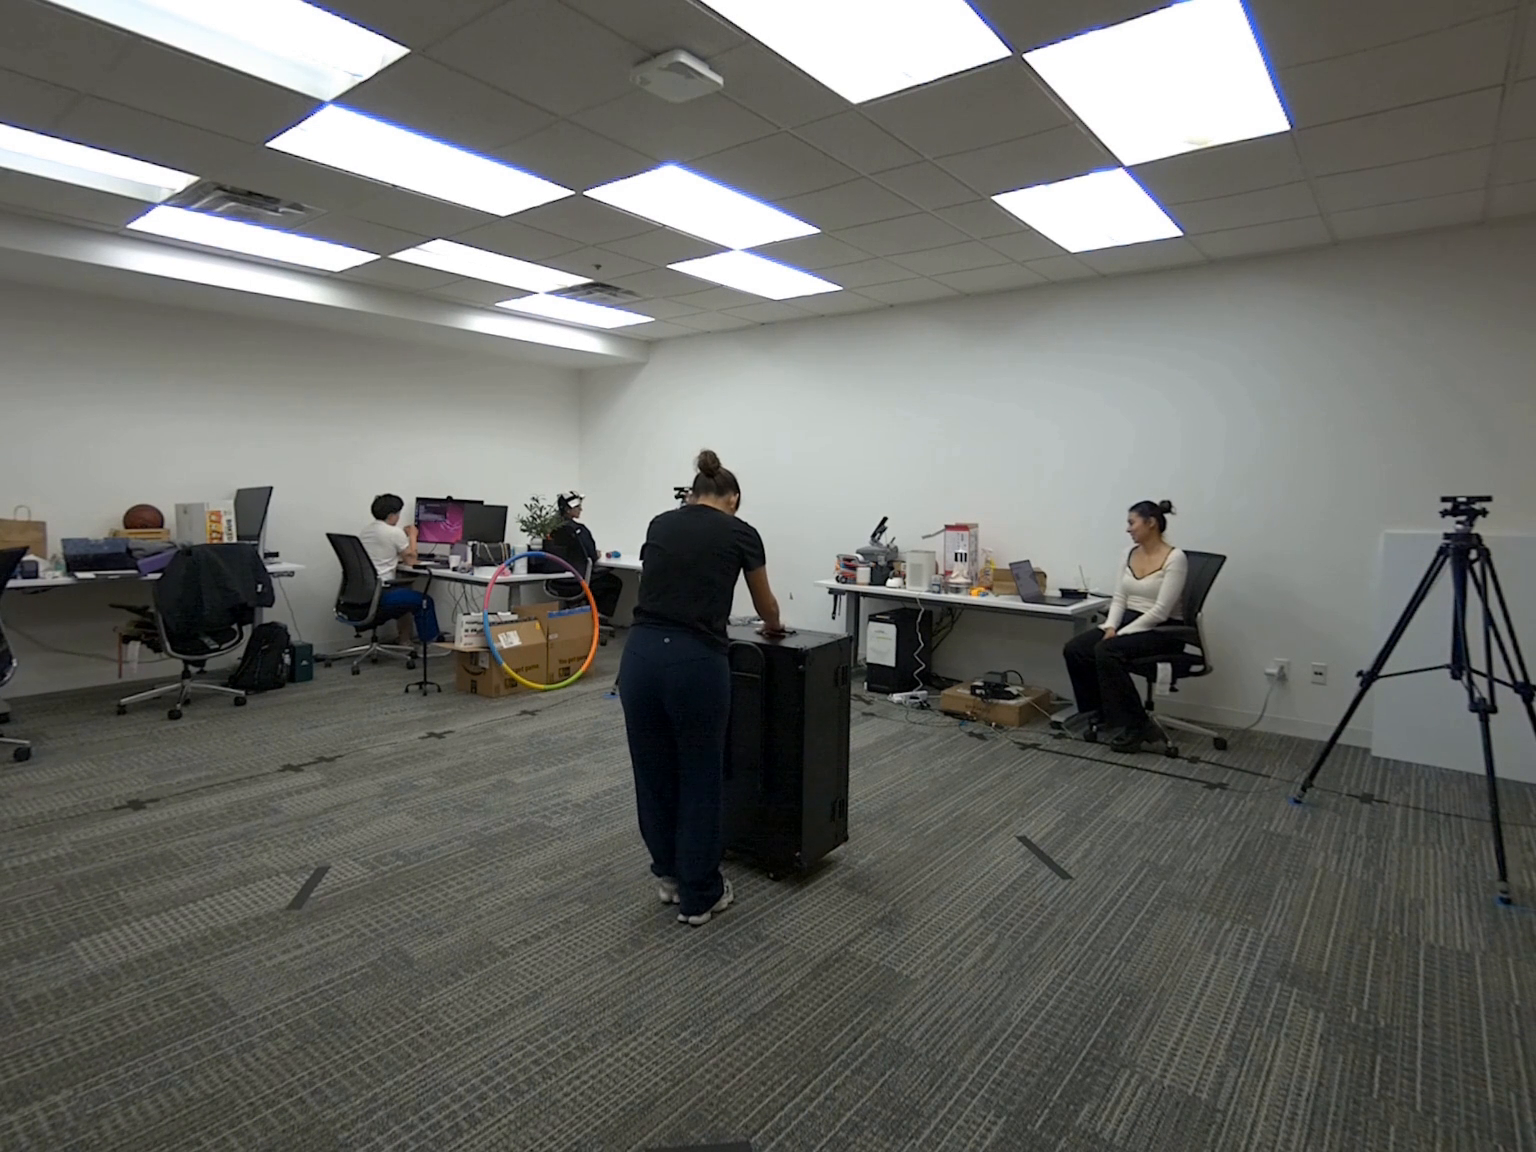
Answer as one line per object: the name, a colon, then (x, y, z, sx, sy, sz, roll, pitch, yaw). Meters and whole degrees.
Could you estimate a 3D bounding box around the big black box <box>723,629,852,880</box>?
big black box: (0.033, 0.637, 3.205, 0.538, 0.859, 0.385, 2, 3, 35)
